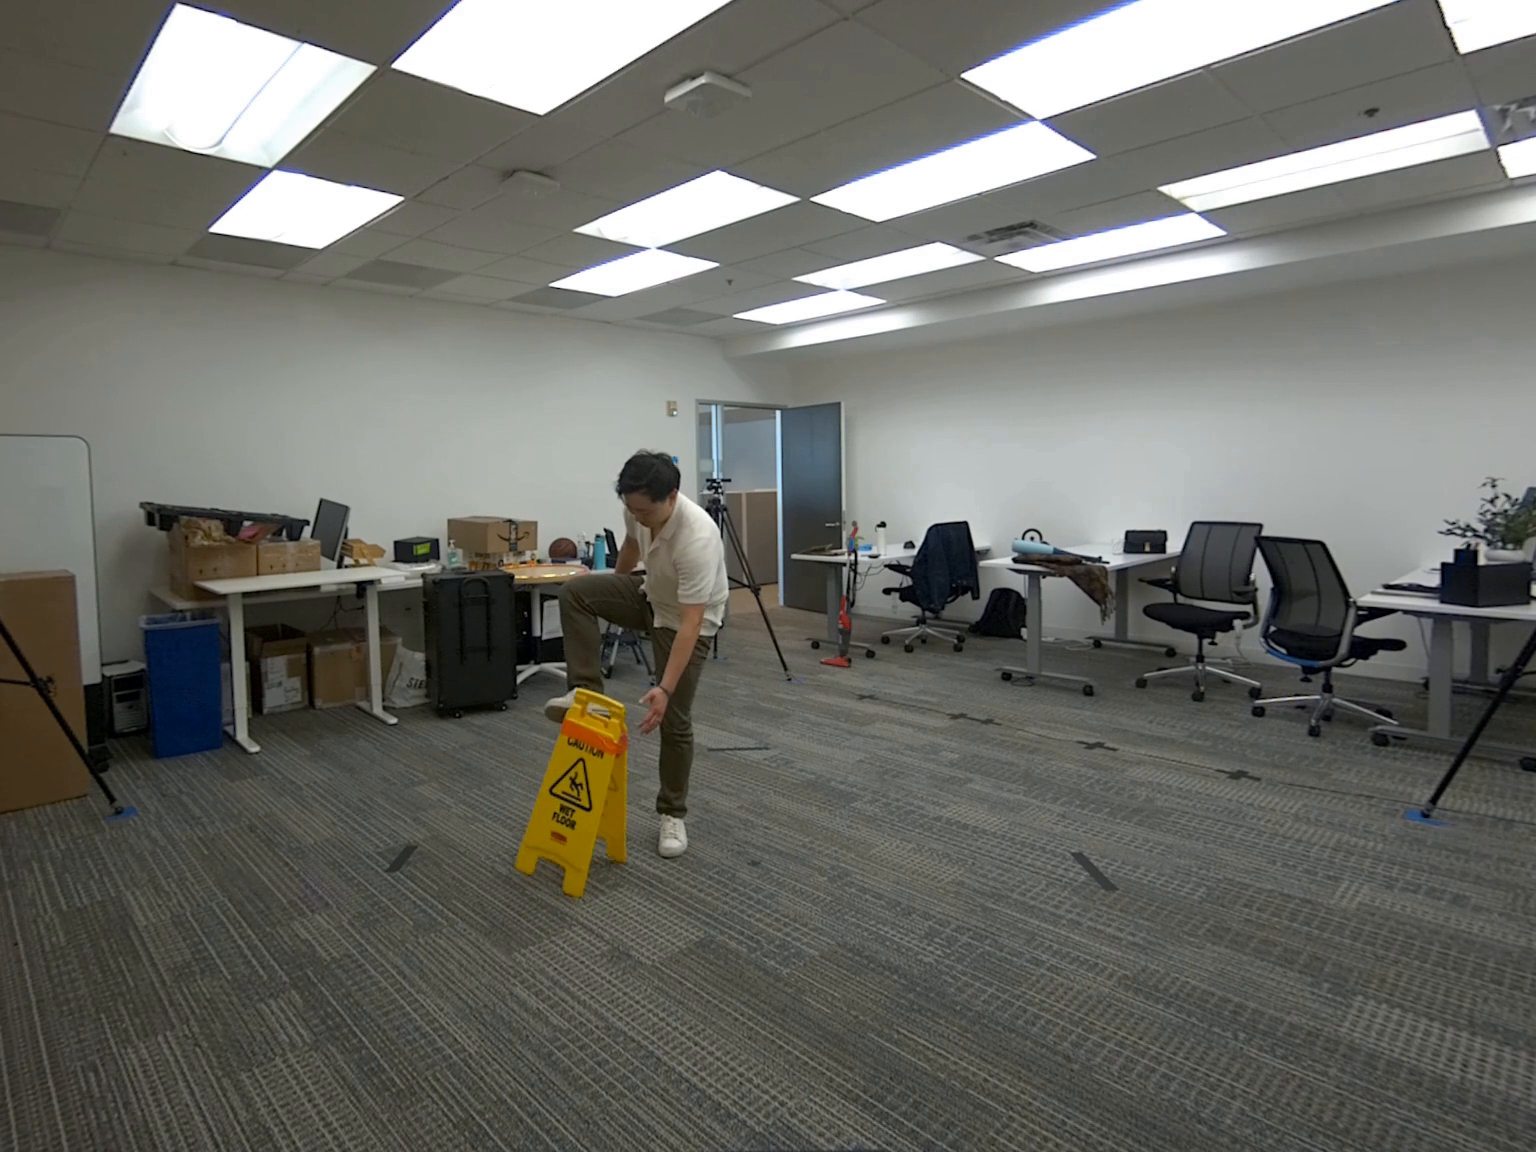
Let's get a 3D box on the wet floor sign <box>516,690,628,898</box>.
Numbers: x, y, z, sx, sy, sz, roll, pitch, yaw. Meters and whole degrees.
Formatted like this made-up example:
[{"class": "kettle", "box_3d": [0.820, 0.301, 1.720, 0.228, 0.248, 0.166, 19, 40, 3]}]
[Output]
[{"class": "wet floor sign", "box_3d": [-0.638, 0.728, 3.003, 0.289, 0.641, 0.285, 15, 10, 21]}]
